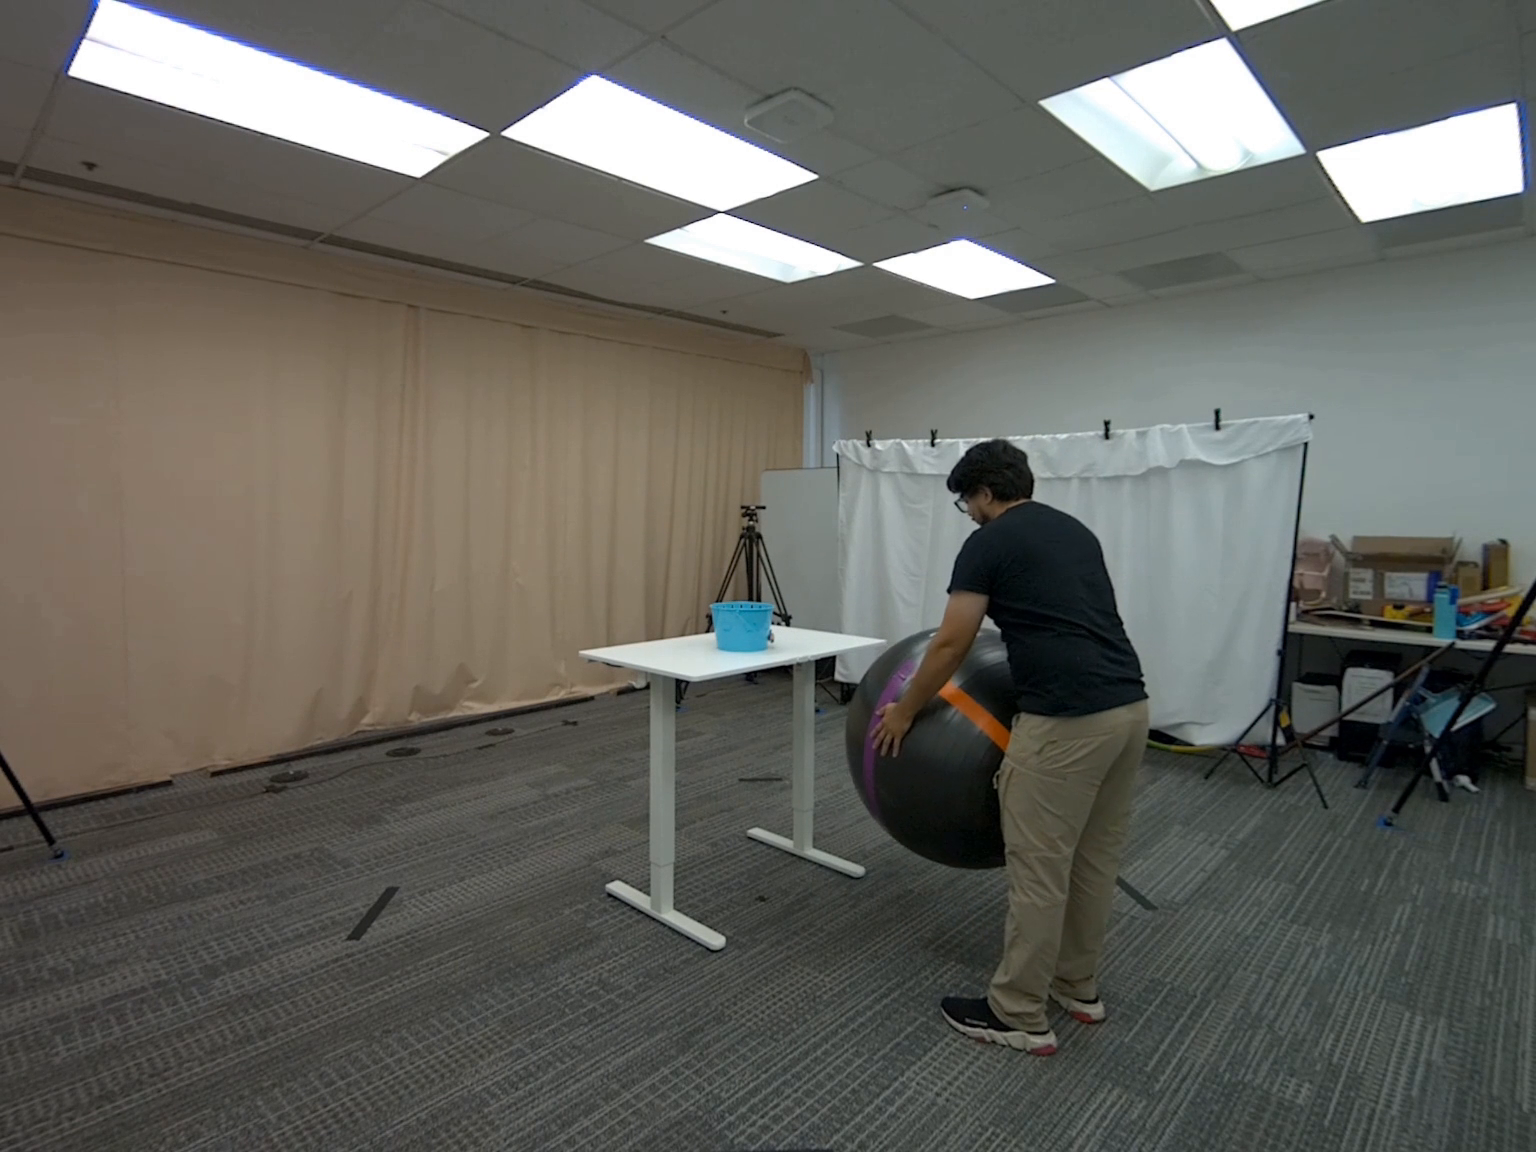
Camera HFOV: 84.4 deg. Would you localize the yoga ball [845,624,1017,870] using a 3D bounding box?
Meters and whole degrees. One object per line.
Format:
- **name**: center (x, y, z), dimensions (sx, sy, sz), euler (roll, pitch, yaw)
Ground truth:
- **yoga ball**: center (0.650, 0.552, 2.708), dimensions (0.757, 0.756, 0.760), euler (0, 4, -2)
